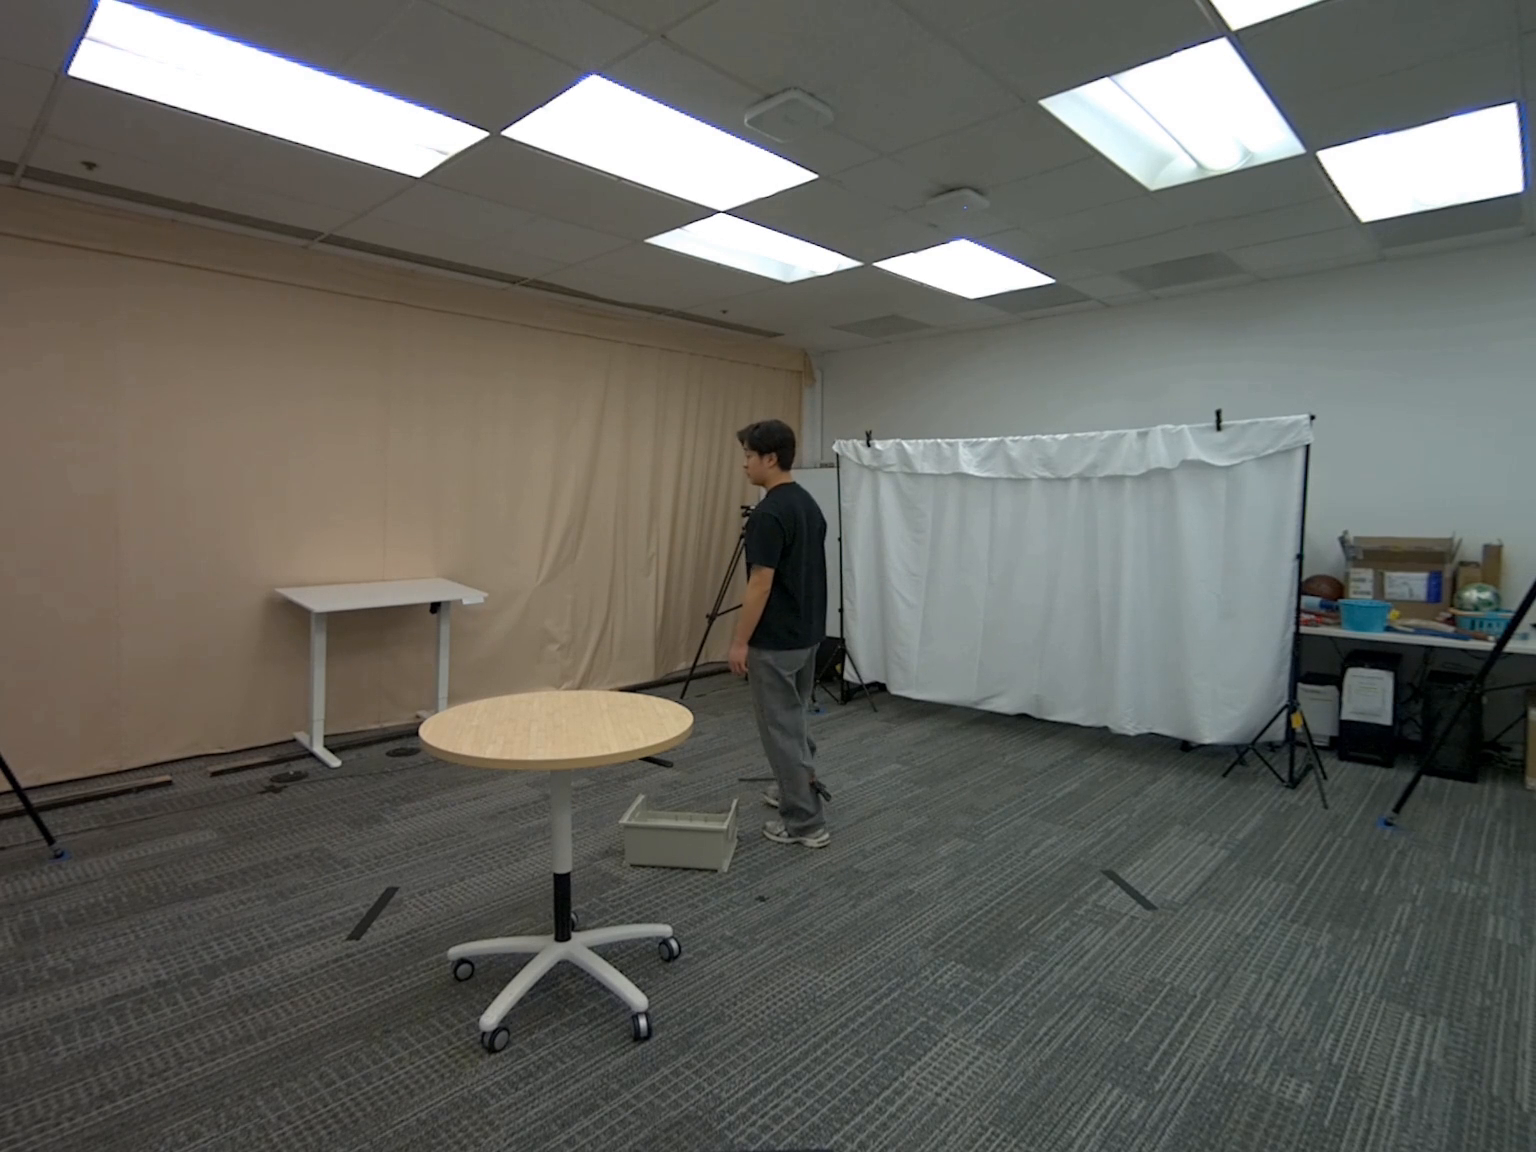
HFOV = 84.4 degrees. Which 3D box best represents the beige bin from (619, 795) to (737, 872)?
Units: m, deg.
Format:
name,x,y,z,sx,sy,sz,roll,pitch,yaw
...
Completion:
name,x,y,z,sx,sy,sz,roll,pitch,yaw
beige bin,-0.348,1.025,3.393,0.426,0.188,0.375,1,5,8
